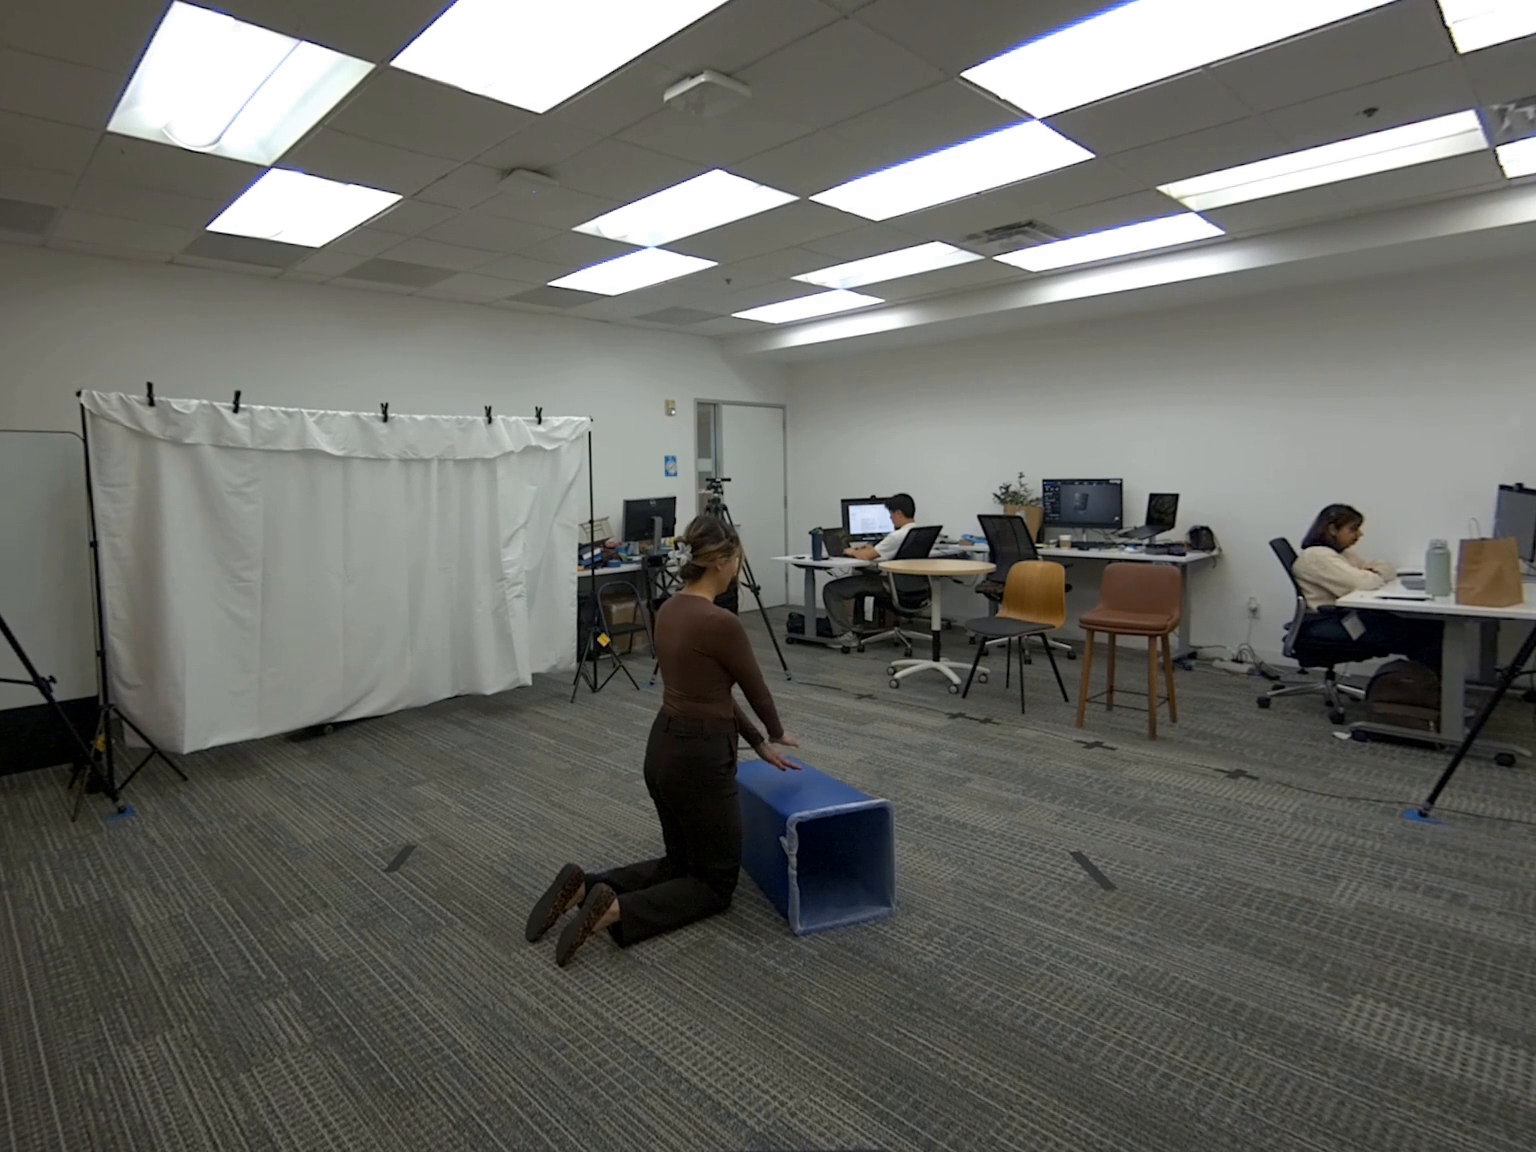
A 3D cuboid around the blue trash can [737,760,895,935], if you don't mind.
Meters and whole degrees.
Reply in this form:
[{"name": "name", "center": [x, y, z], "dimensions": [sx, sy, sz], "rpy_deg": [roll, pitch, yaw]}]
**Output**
[{"name": "blue trash can", "center": [0.105, 0.880, 2.991], "dimensions": [0.367, 0.377, 0.728], "rpy_deg": [-4, 5, -21]}]
